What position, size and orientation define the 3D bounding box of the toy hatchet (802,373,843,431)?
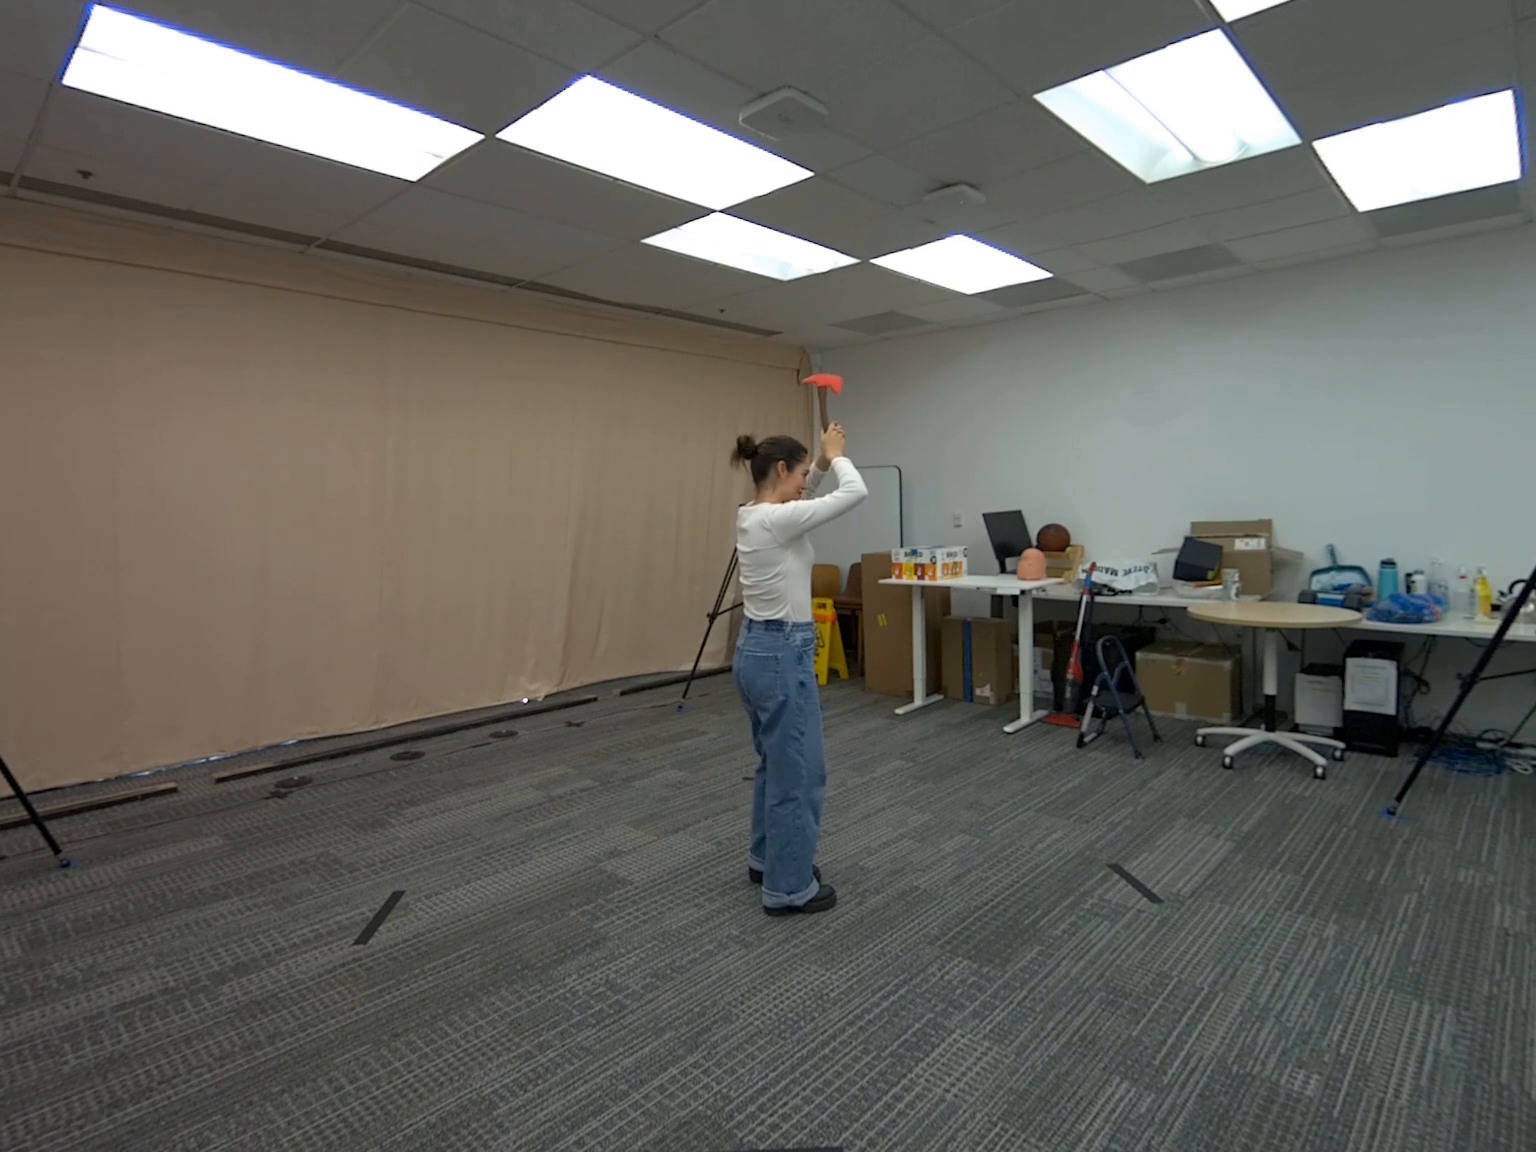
[{"bbox_3d":[0.234,-0.586,2.927,0.130,0.269,0.030,-22,3,-6],"label":"toy hatchet"}]
